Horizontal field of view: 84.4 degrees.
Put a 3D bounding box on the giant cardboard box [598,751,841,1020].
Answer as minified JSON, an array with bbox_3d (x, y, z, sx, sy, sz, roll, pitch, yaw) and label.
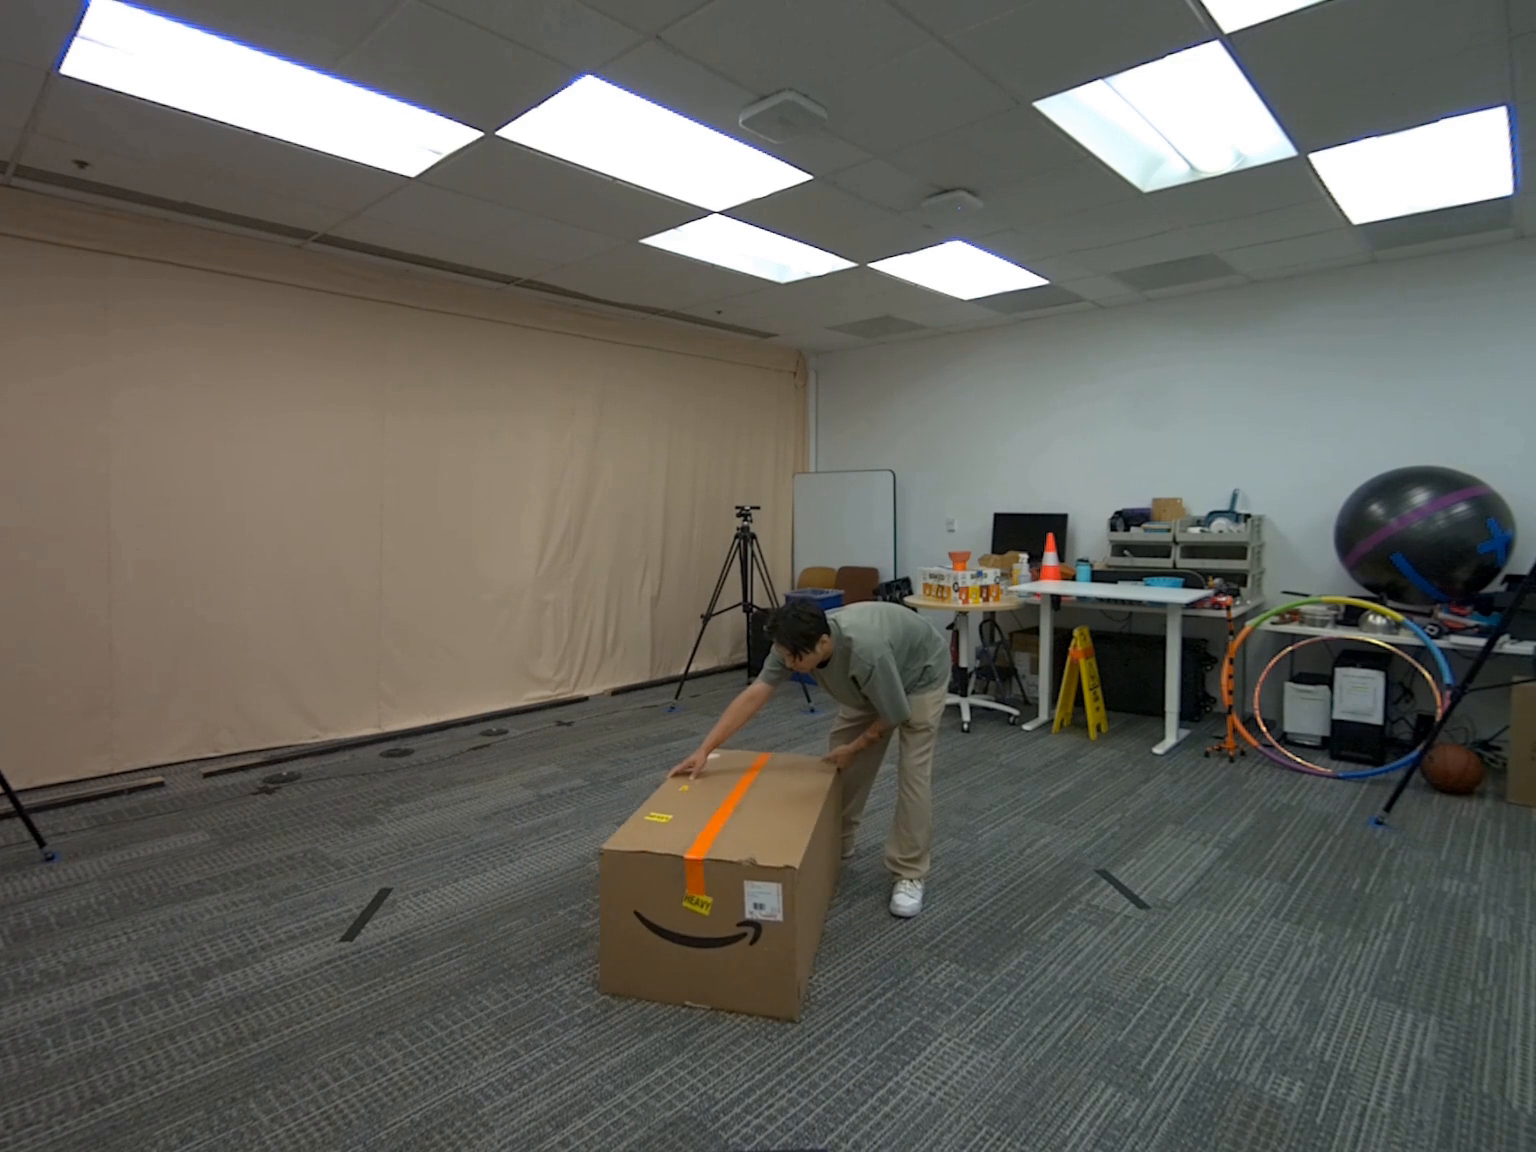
[{"bbox_3d":[-0.105,0.940,2.813,0.586,0.425,1.013,2,4,12],"label":"giant cardboard box"}]
